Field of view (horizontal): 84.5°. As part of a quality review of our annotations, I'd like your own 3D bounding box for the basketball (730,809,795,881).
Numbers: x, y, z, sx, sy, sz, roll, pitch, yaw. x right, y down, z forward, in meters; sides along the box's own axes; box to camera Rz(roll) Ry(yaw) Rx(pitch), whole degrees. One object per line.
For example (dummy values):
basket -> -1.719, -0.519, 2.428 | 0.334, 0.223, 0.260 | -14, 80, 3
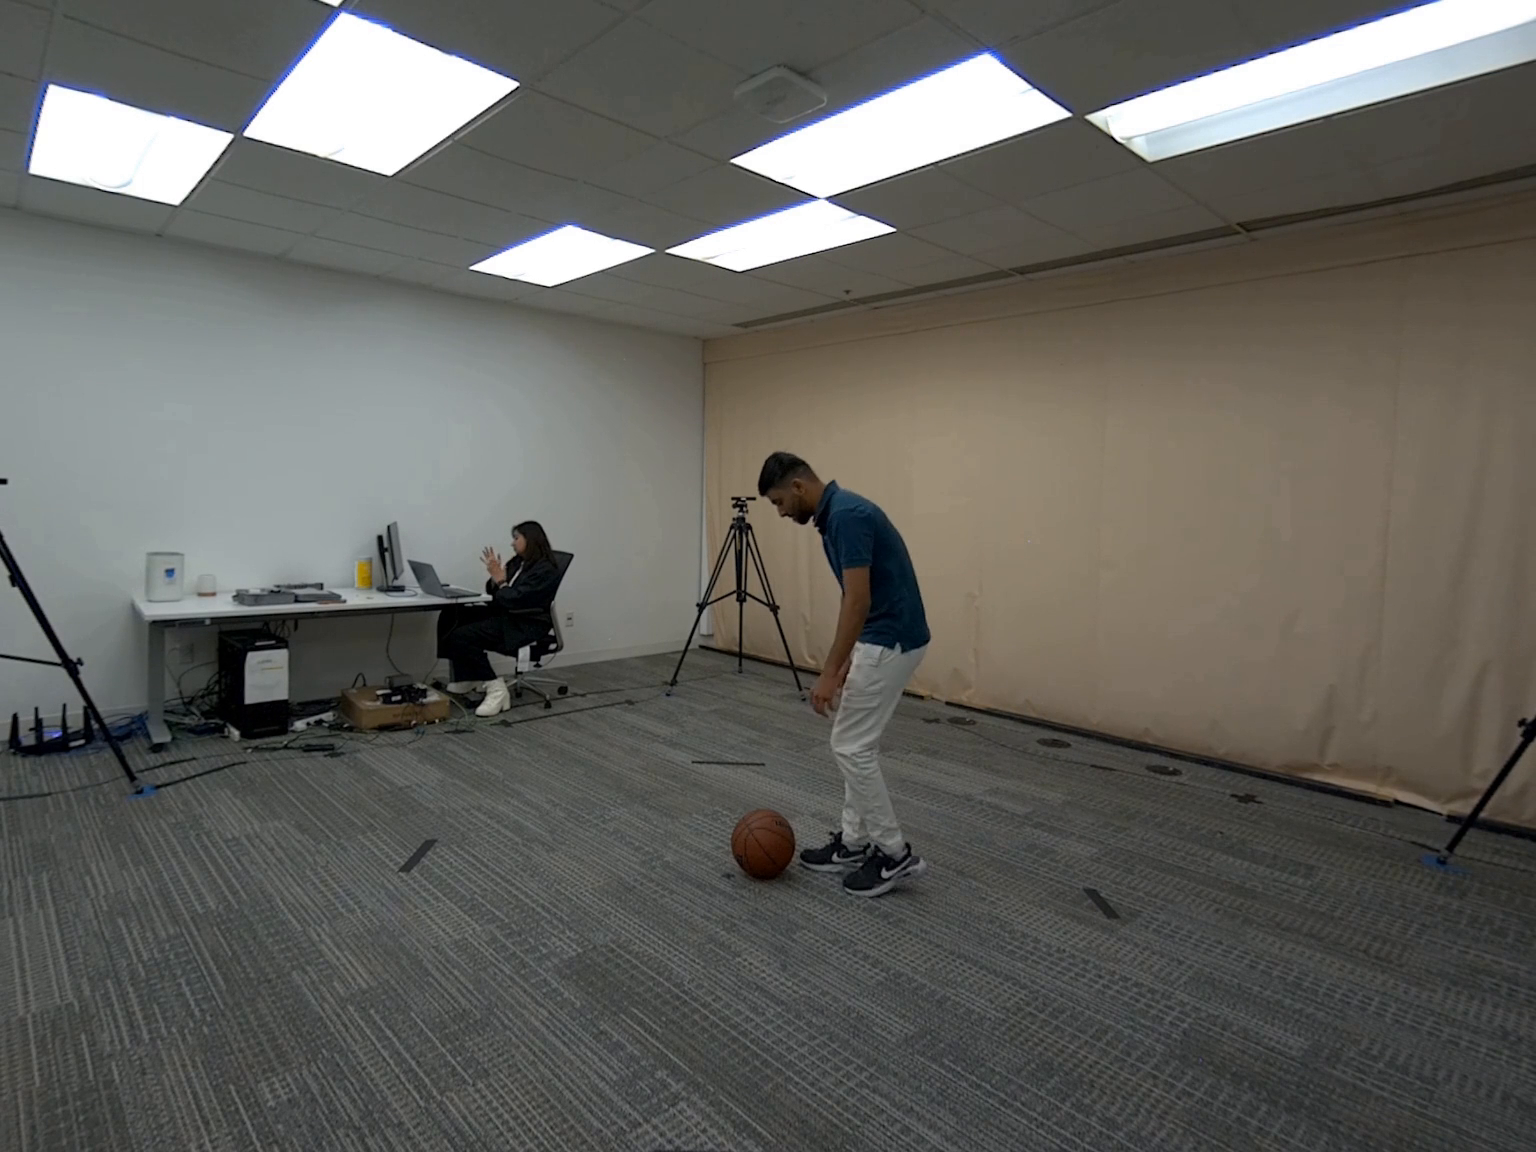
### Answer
basketball -> -0.022, 0.982, 3.120 | 0.236, 0.235, 0.237 | 1, 4, -1
